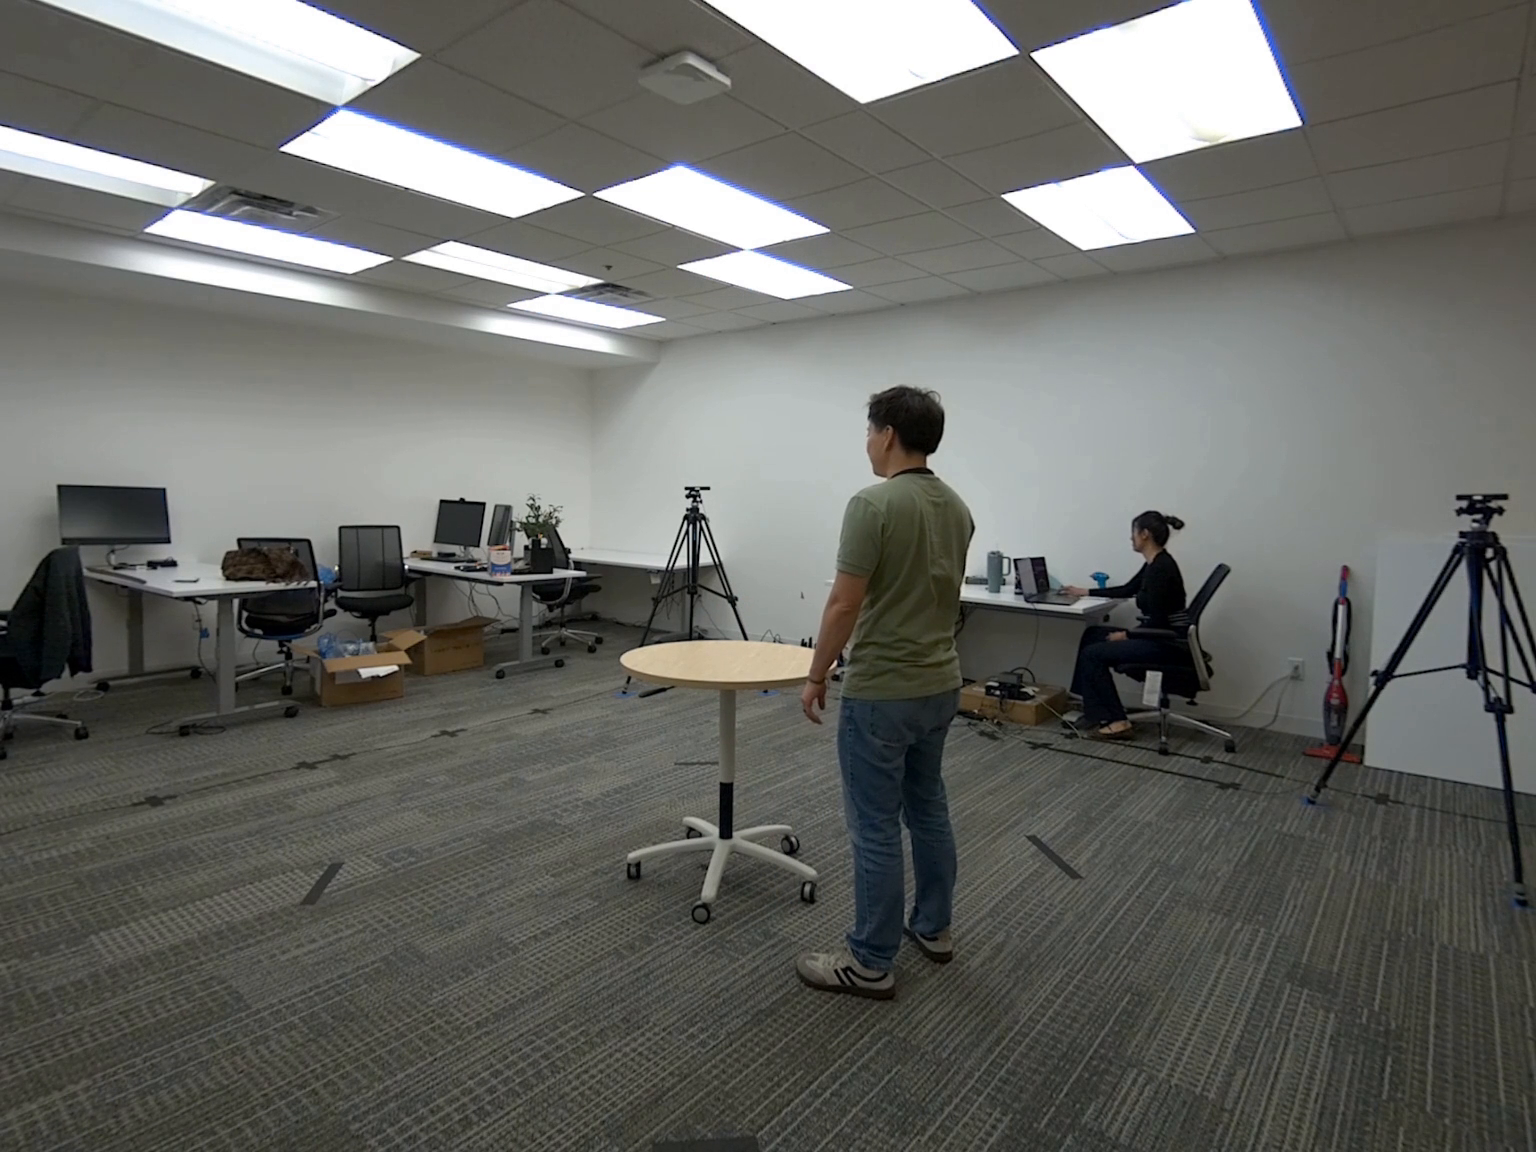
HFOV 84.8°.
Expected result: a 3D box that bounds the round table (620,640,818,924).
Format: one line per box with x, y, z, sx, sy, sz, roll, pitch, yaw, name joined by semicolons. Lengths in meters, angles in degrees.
-0.162;0.683;3.036;0.763;0.792;0.767;1;4;-2;round table
